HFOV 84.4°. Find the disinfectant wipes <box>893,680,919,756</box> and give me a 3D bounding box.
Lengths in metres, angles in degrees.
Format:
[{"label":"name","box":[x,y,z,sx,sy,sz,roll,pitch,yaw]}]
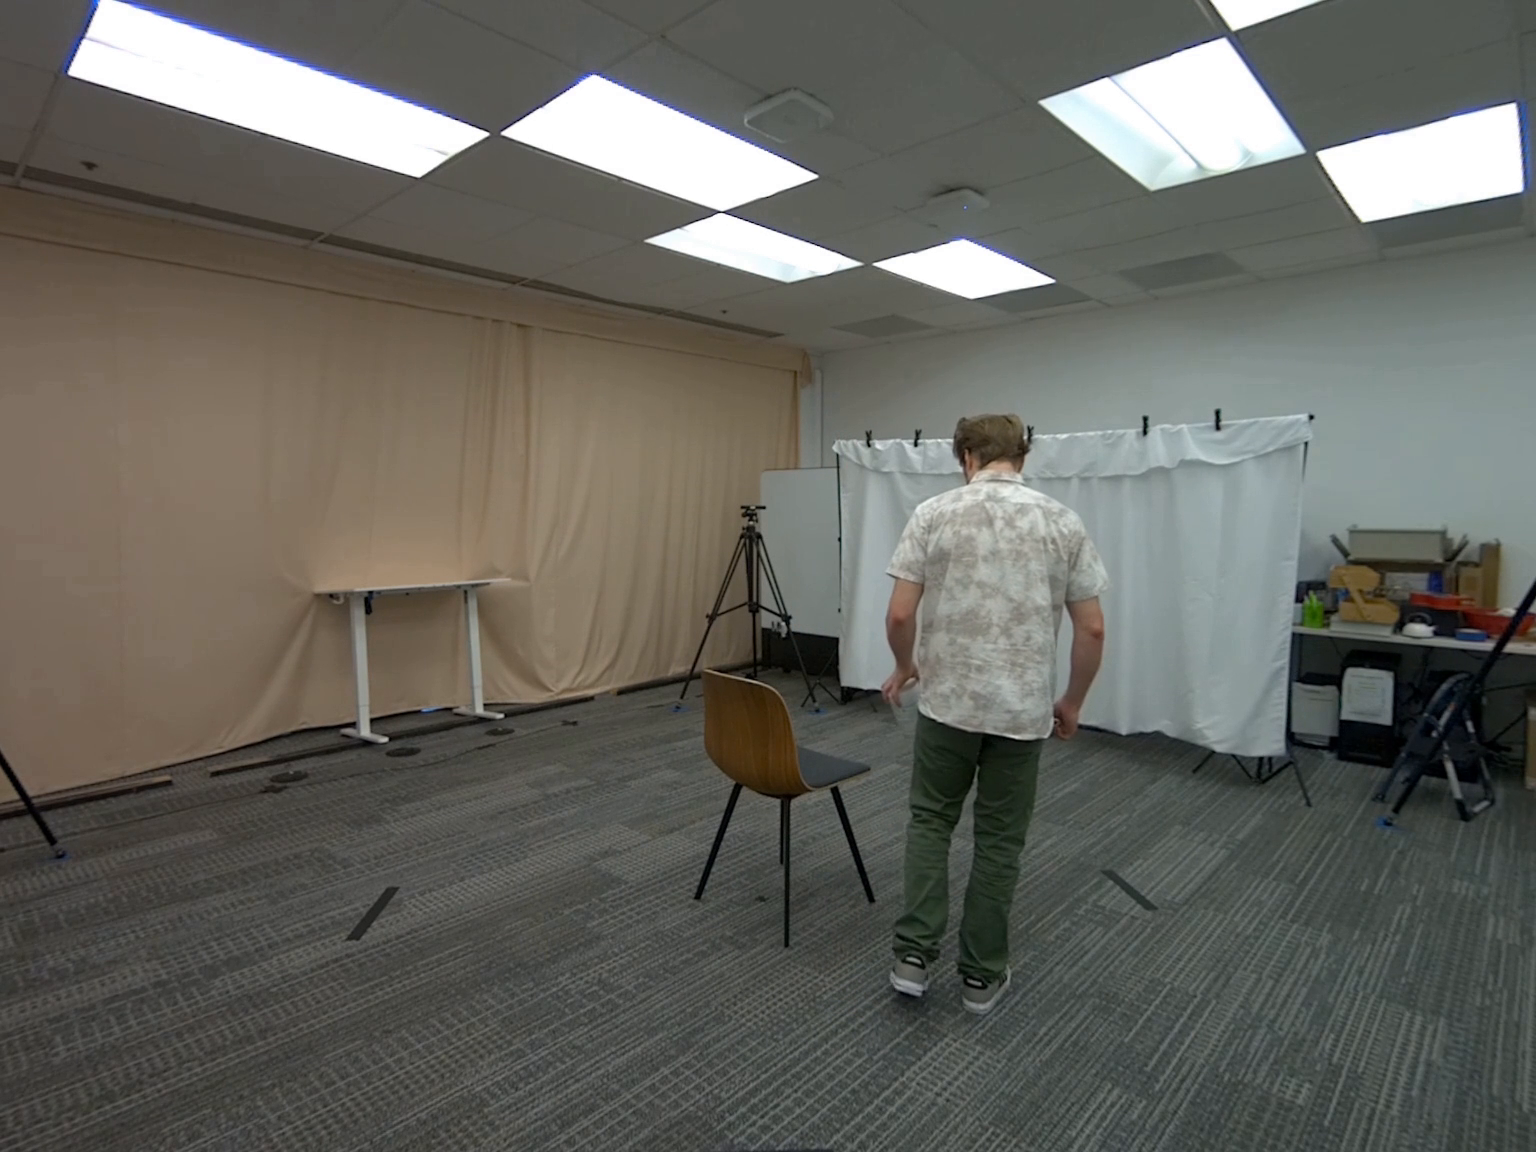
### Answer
[{"label":"disinfectant wipes","box":[0.472,0.441,2.624,0.118,0.215,0.118,-21,9,2]}]
